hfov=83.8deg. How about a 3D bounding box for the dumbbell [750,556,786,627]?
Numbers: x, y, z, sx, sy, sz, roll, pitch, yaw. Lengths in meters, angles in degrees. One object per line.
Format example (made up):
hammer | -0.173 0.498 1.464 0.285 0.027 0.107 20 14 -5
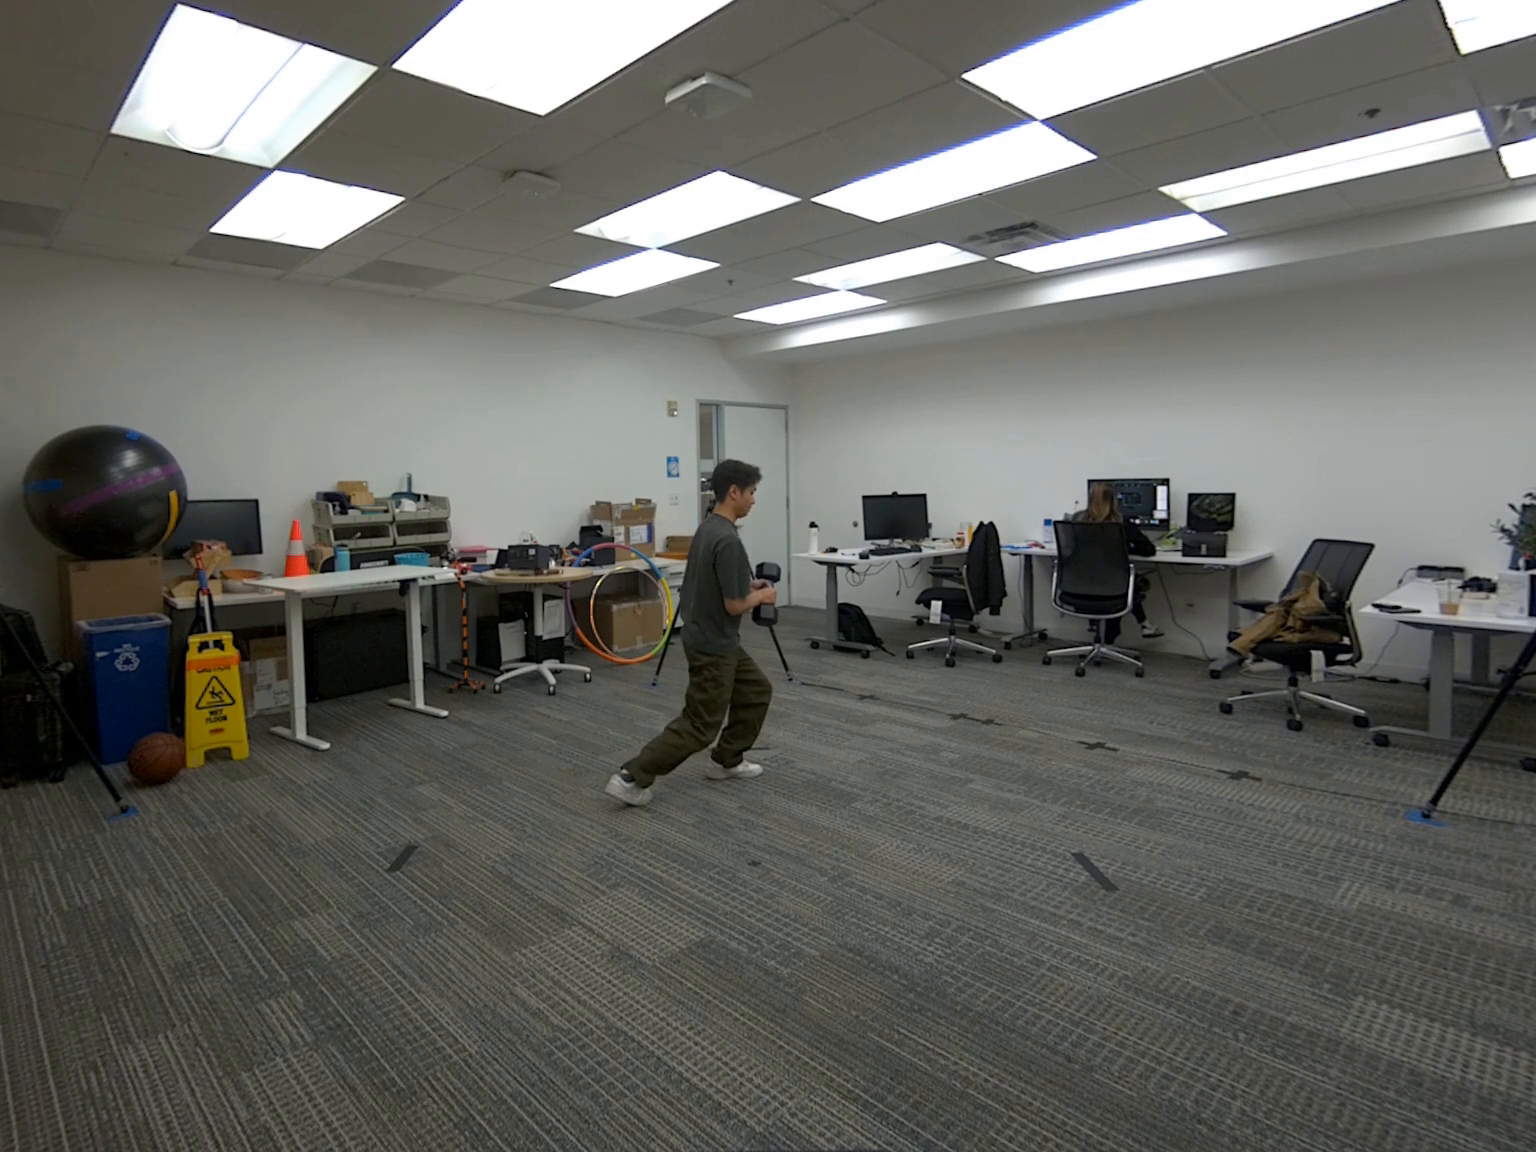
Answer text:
dumbbell | 0.001 0.071 3.989 0.110 0.299 0.118 -5 -26 20
